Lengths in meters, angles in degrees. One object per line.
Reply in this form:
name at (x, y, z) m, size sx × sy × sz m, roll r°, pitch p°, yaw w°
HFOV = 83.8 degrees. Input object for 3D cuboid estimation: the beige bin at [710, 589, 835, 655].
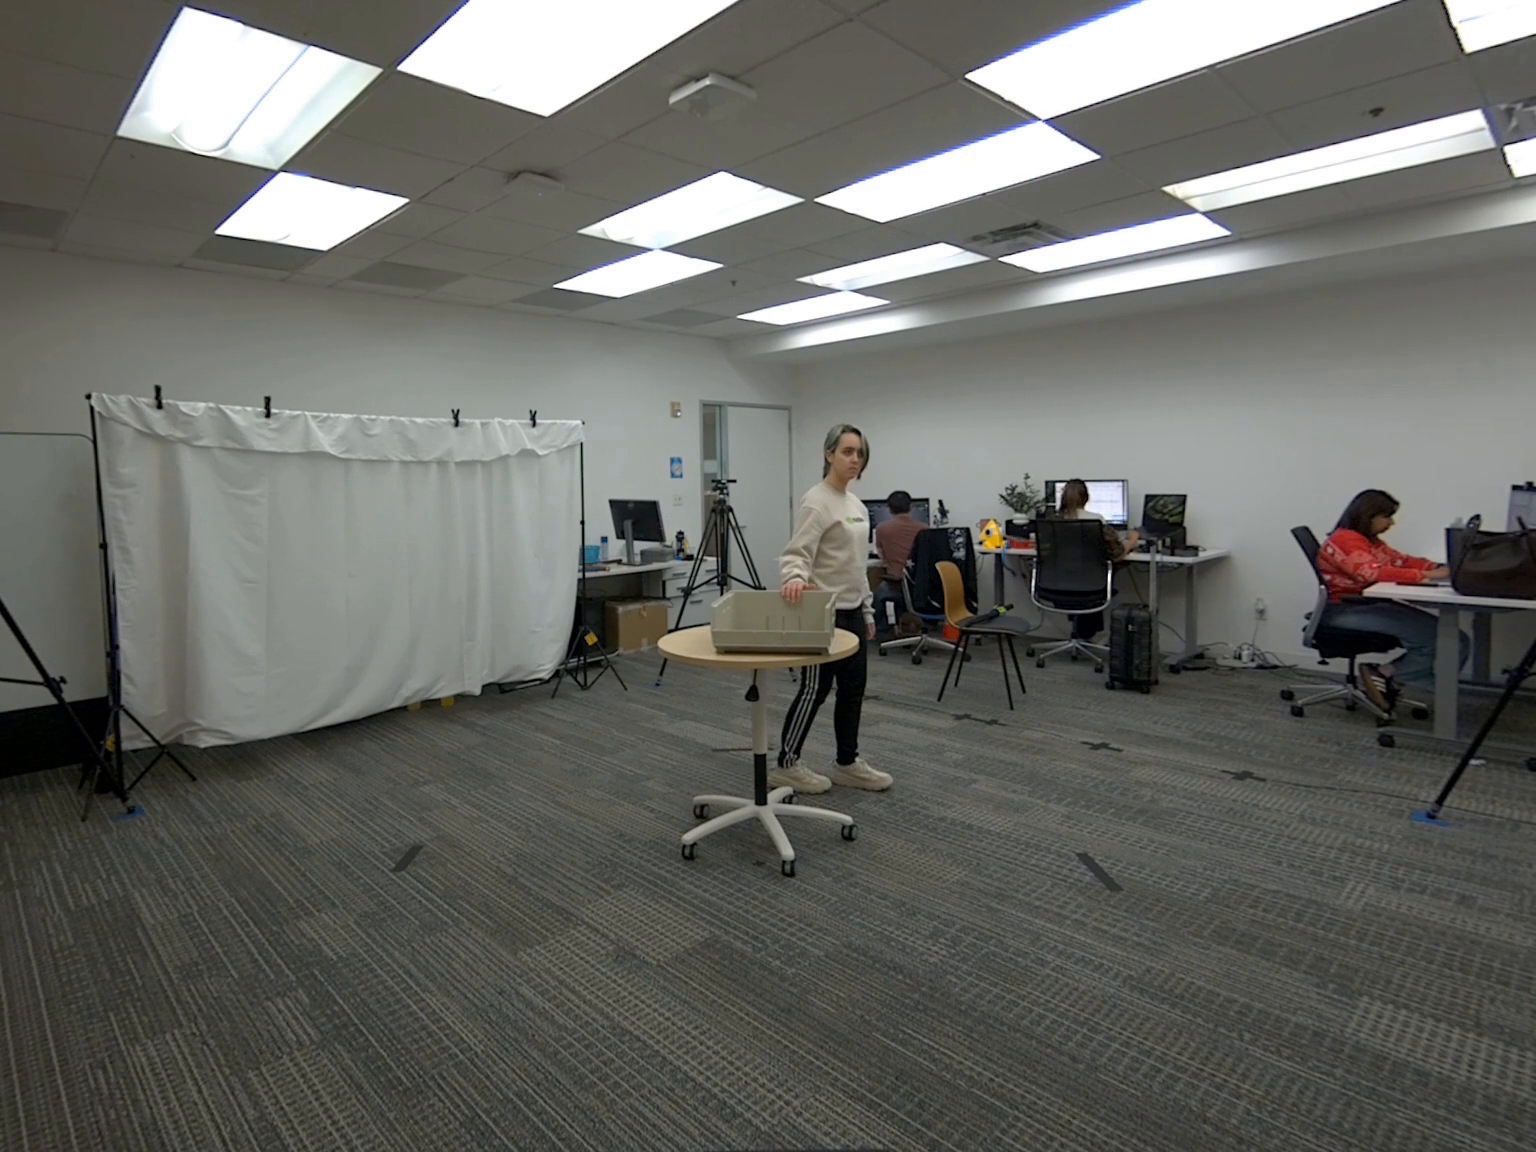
beige bin at (0.029, 0.164, 3.129) m, size 0.427 × 0.188 × 0.374 m, roll -1°, pitch 4°, yaw 10°
